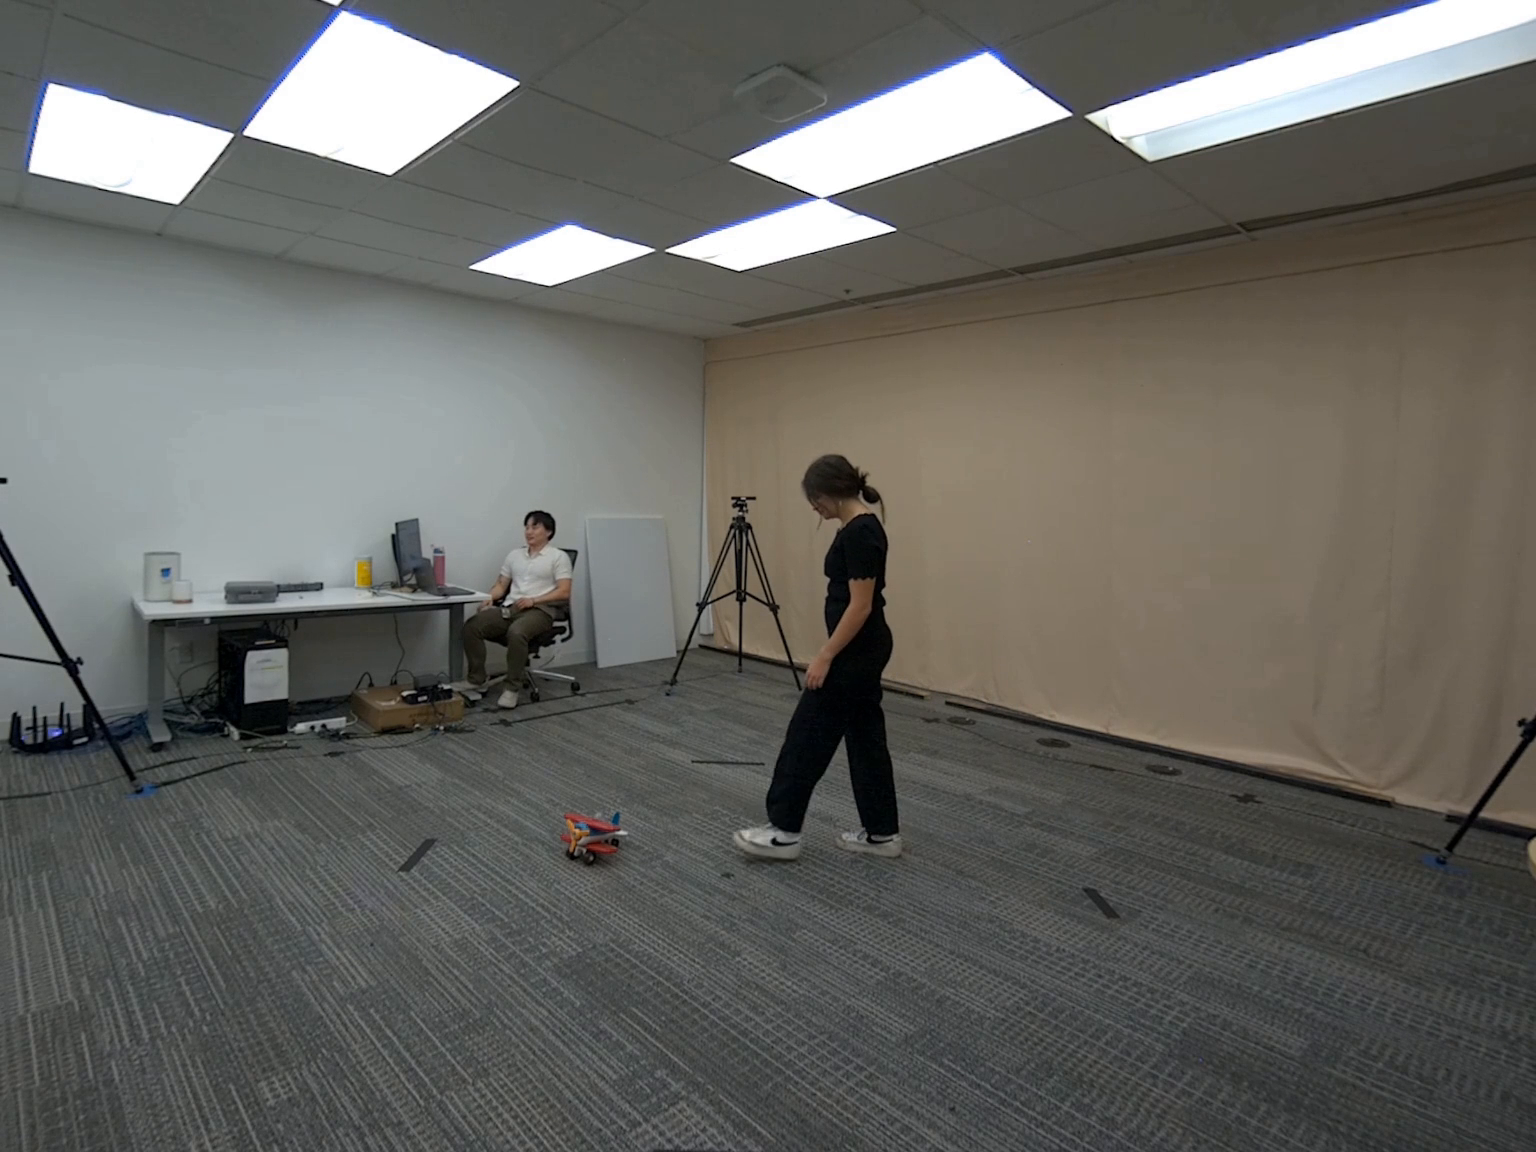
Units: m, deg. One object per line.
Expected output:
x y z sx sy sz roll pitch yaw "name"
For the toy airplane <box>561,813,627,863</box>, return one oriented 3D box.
-0.699 1.006 3.267 0.252 0.156 0.260 1 6 2 "toy airplane"
